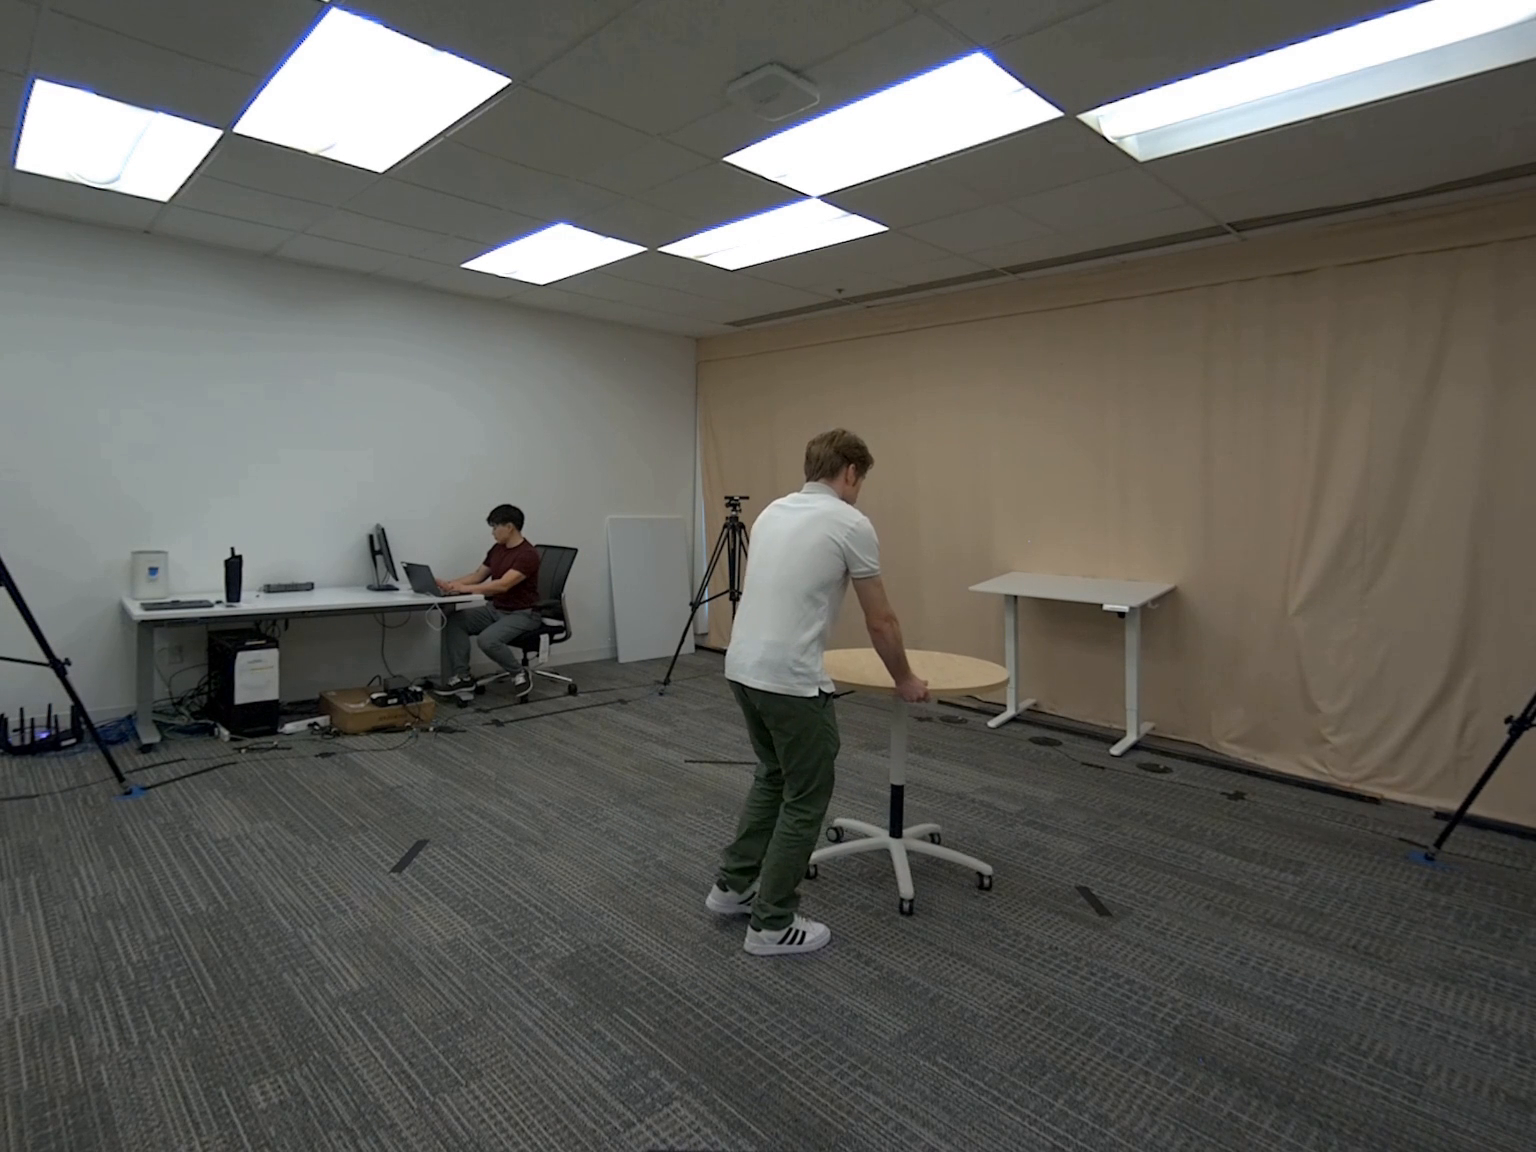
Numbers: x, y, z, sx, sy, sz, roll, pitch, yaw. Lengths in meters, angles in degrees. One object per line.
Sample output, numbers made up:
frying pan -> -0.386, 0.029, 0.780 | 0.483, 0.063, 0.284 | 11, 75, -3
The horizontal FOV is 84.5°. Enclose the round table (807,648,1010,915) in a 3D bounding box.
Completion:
round table -> 0.468, 0.721, 3.131 | 0.784, 0.784, 0.788 | 1, 4, -1
